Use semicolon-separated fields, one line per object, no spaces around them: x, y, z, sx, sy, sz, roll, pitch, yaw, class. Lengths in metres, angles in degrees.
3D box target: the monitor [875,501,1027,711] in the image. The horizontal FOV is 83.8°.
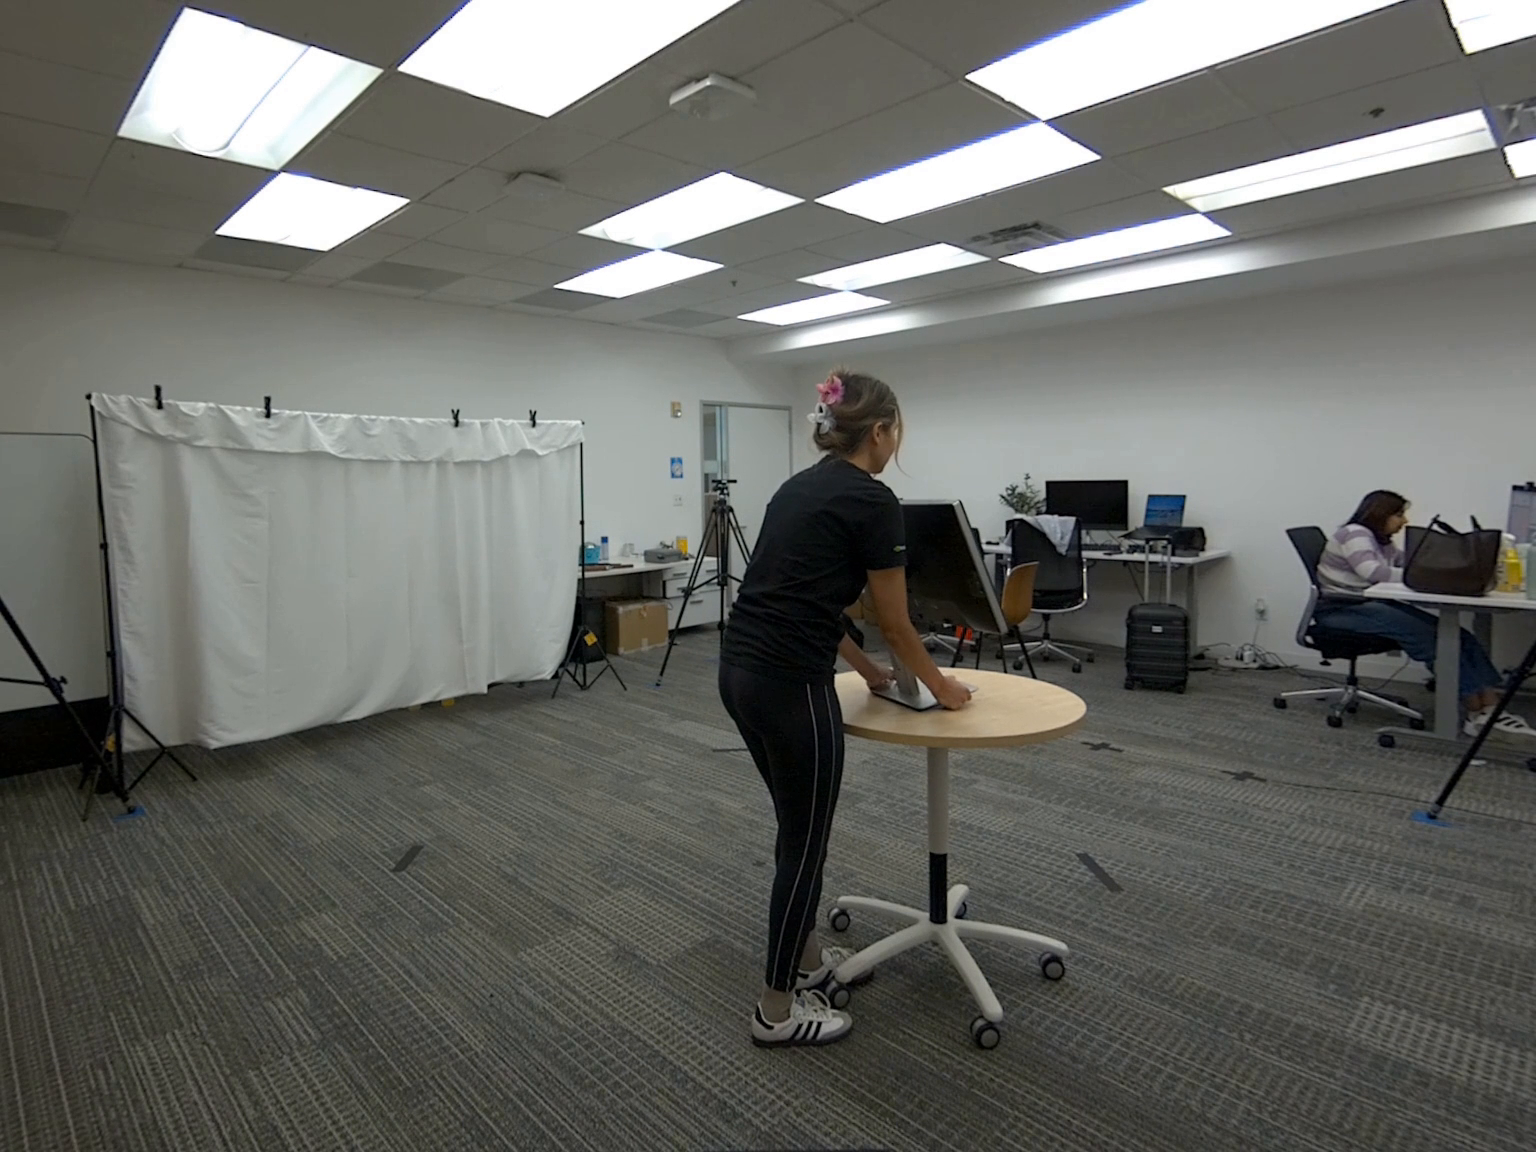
0.383;0.060;2.333;0.184;0.519;0.552;-12;8;-24;monitor
